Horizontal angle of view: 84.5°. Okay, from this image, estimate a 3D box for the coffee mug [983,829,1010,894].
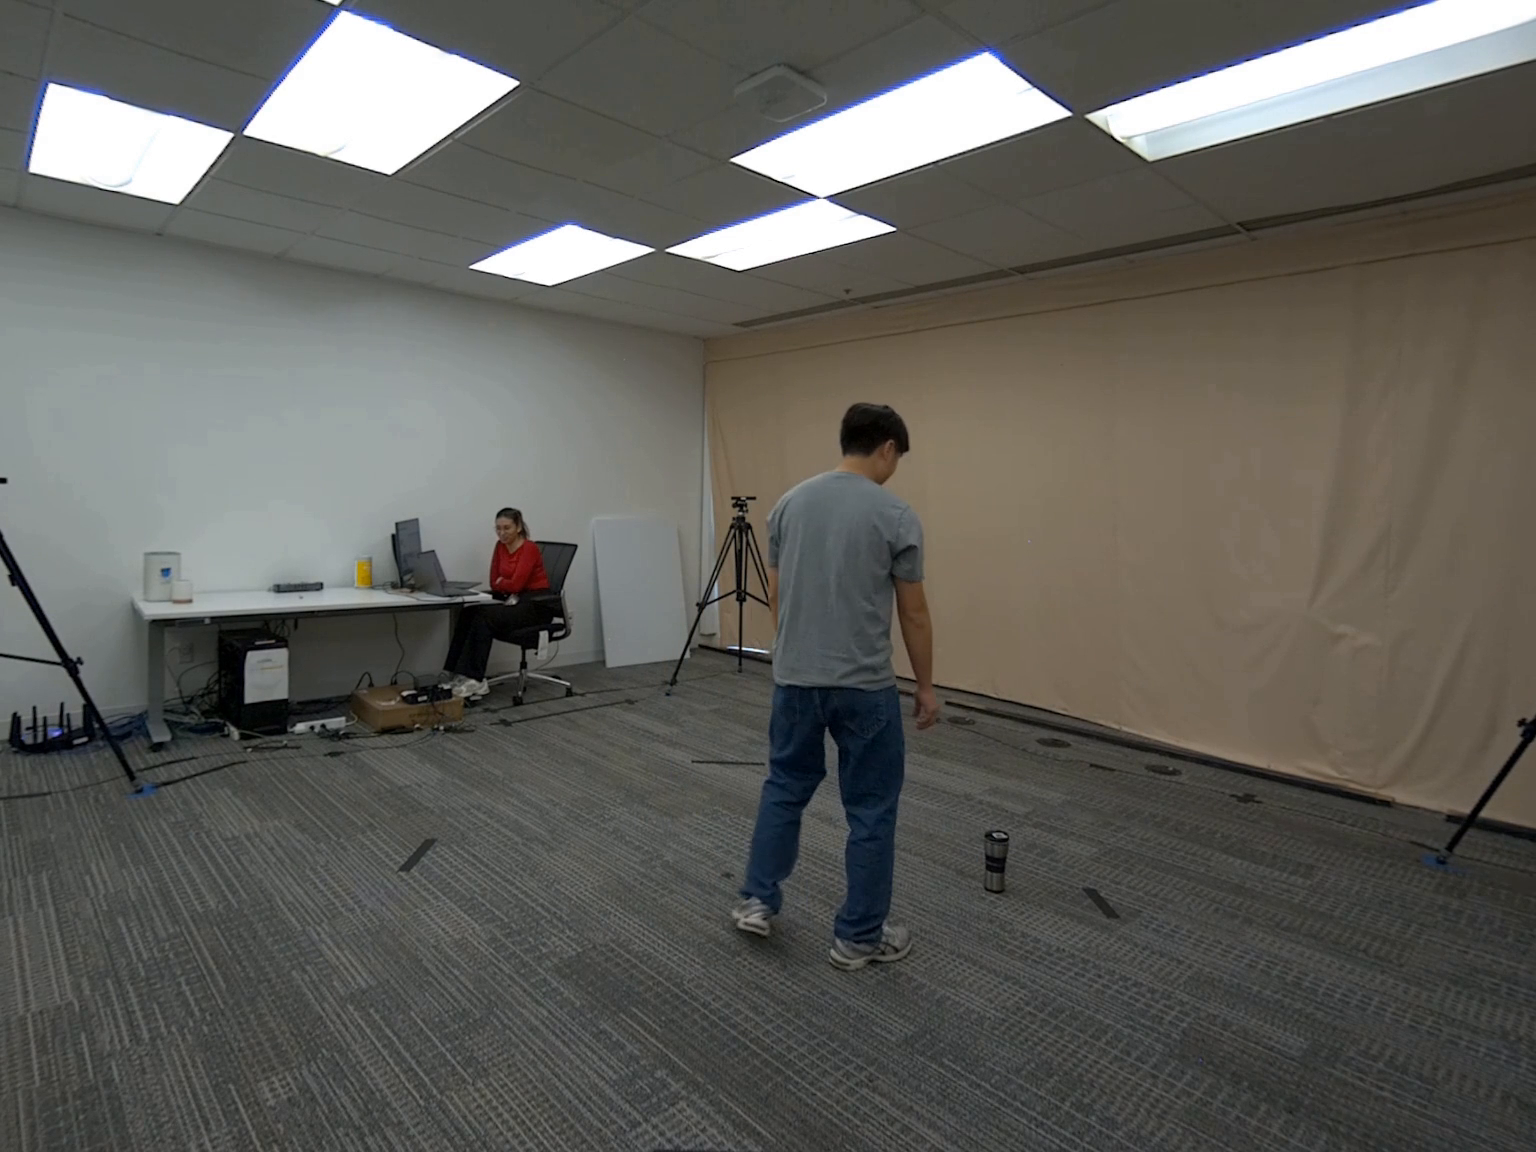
[{"bbox_3d":[0.835,1.036,3.057,0.090,0.202,0.119,2,5,39],"label":"coffee mug"}]
